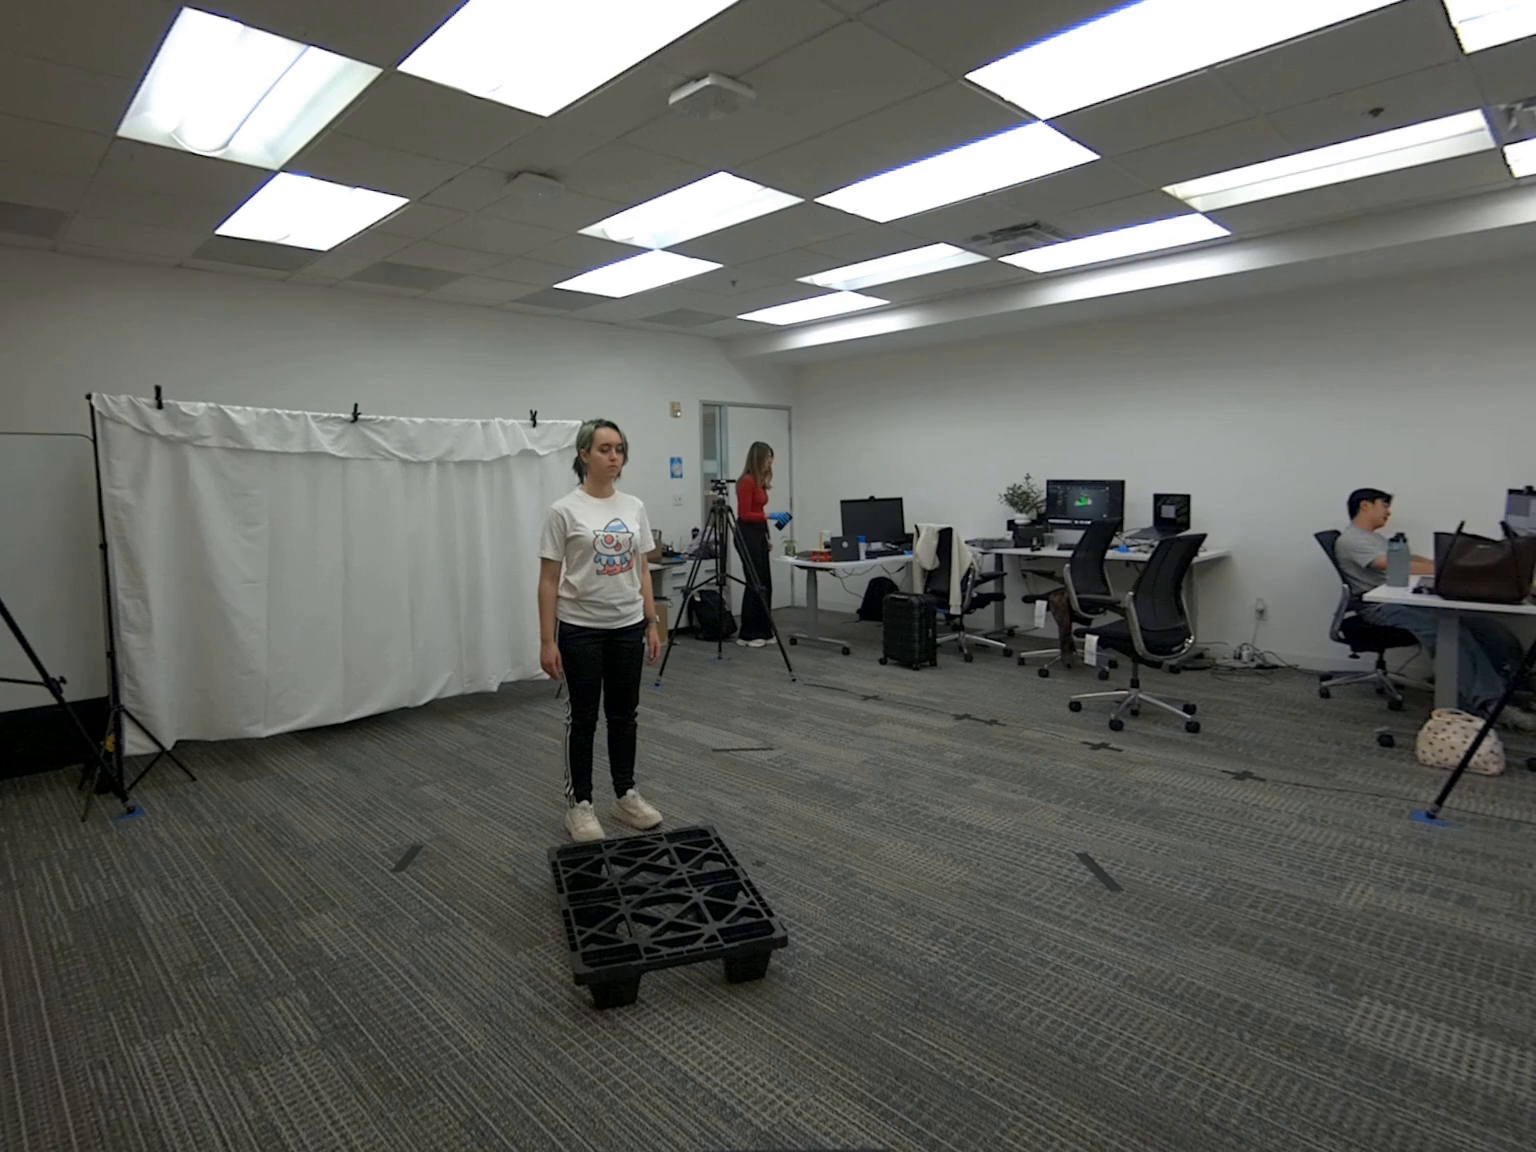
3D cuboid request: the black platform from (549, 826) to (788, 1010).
[{"bbox_3d":[-0.350,1.036,2.677,0.596,0.142,0.822,-4,7,-18],"label":"black platform"}]
